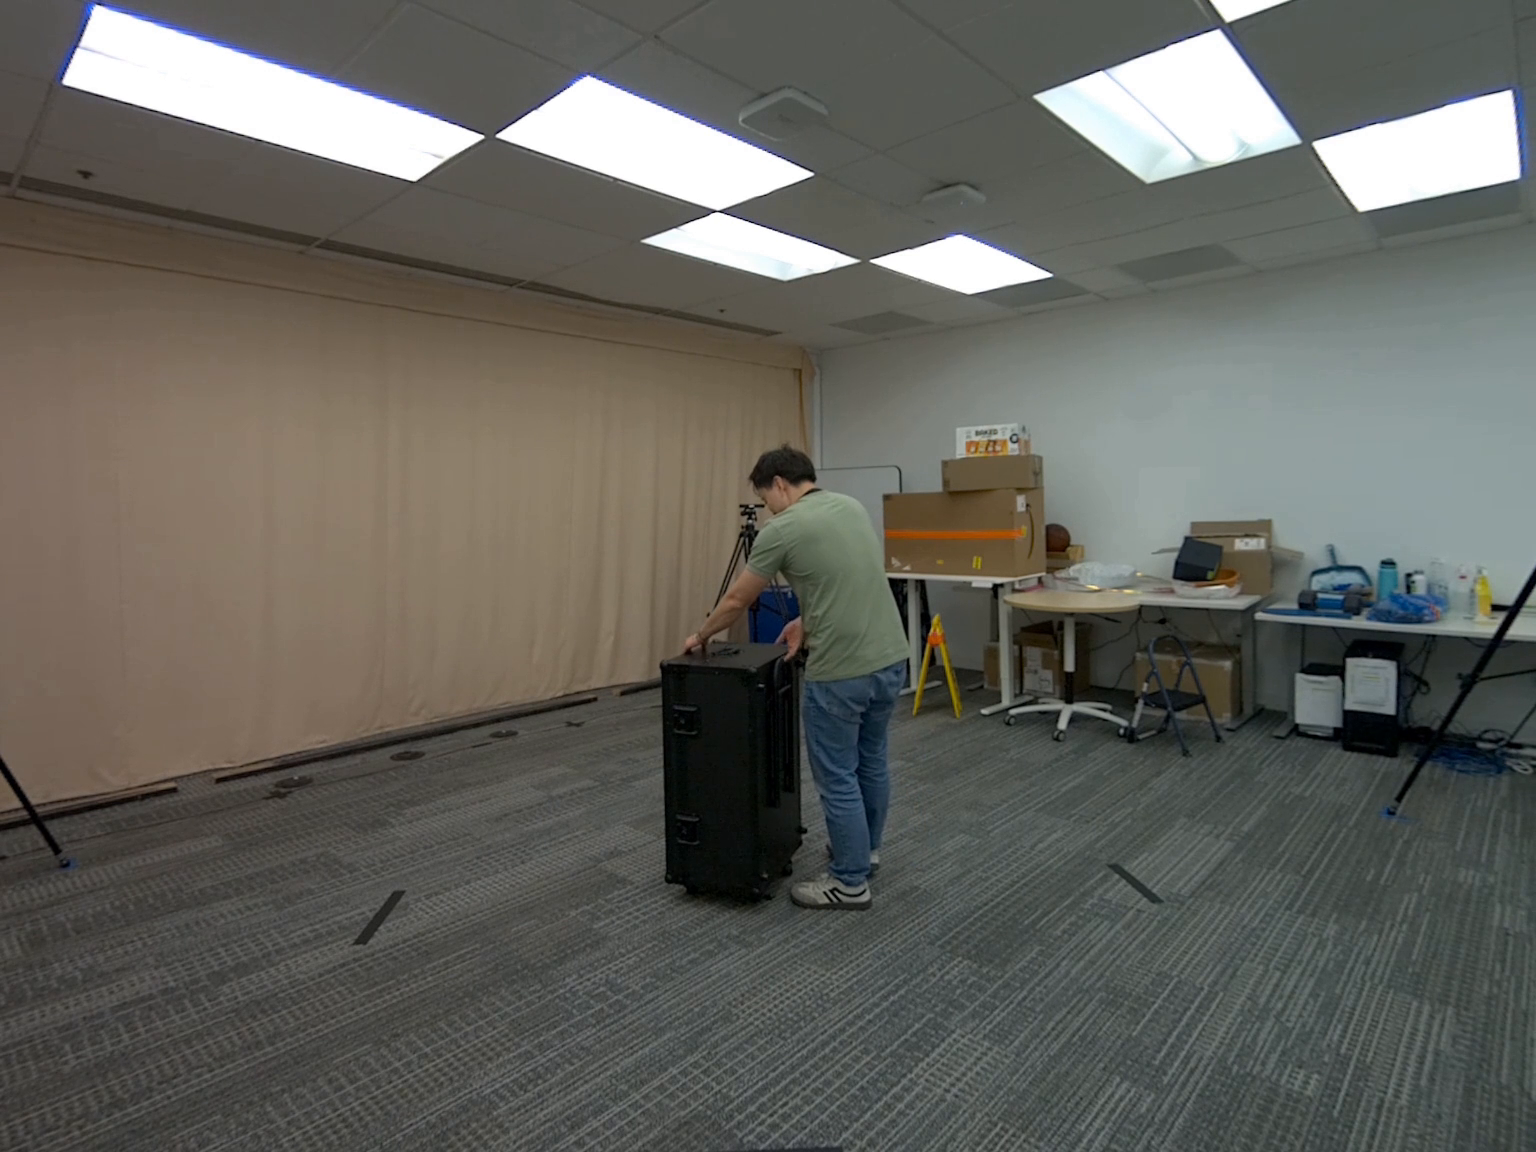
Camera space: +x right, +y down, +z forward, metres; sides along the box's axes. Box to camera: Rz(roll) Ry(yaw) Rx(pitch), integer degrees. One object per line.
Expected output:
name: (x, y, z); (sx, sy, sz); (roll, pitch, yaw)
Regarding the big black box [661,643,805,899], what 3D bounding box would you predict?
big black box: (-0.109, 0.704, 3.097); (0.405, 0.859, 0.510); (1, 4, 22)
